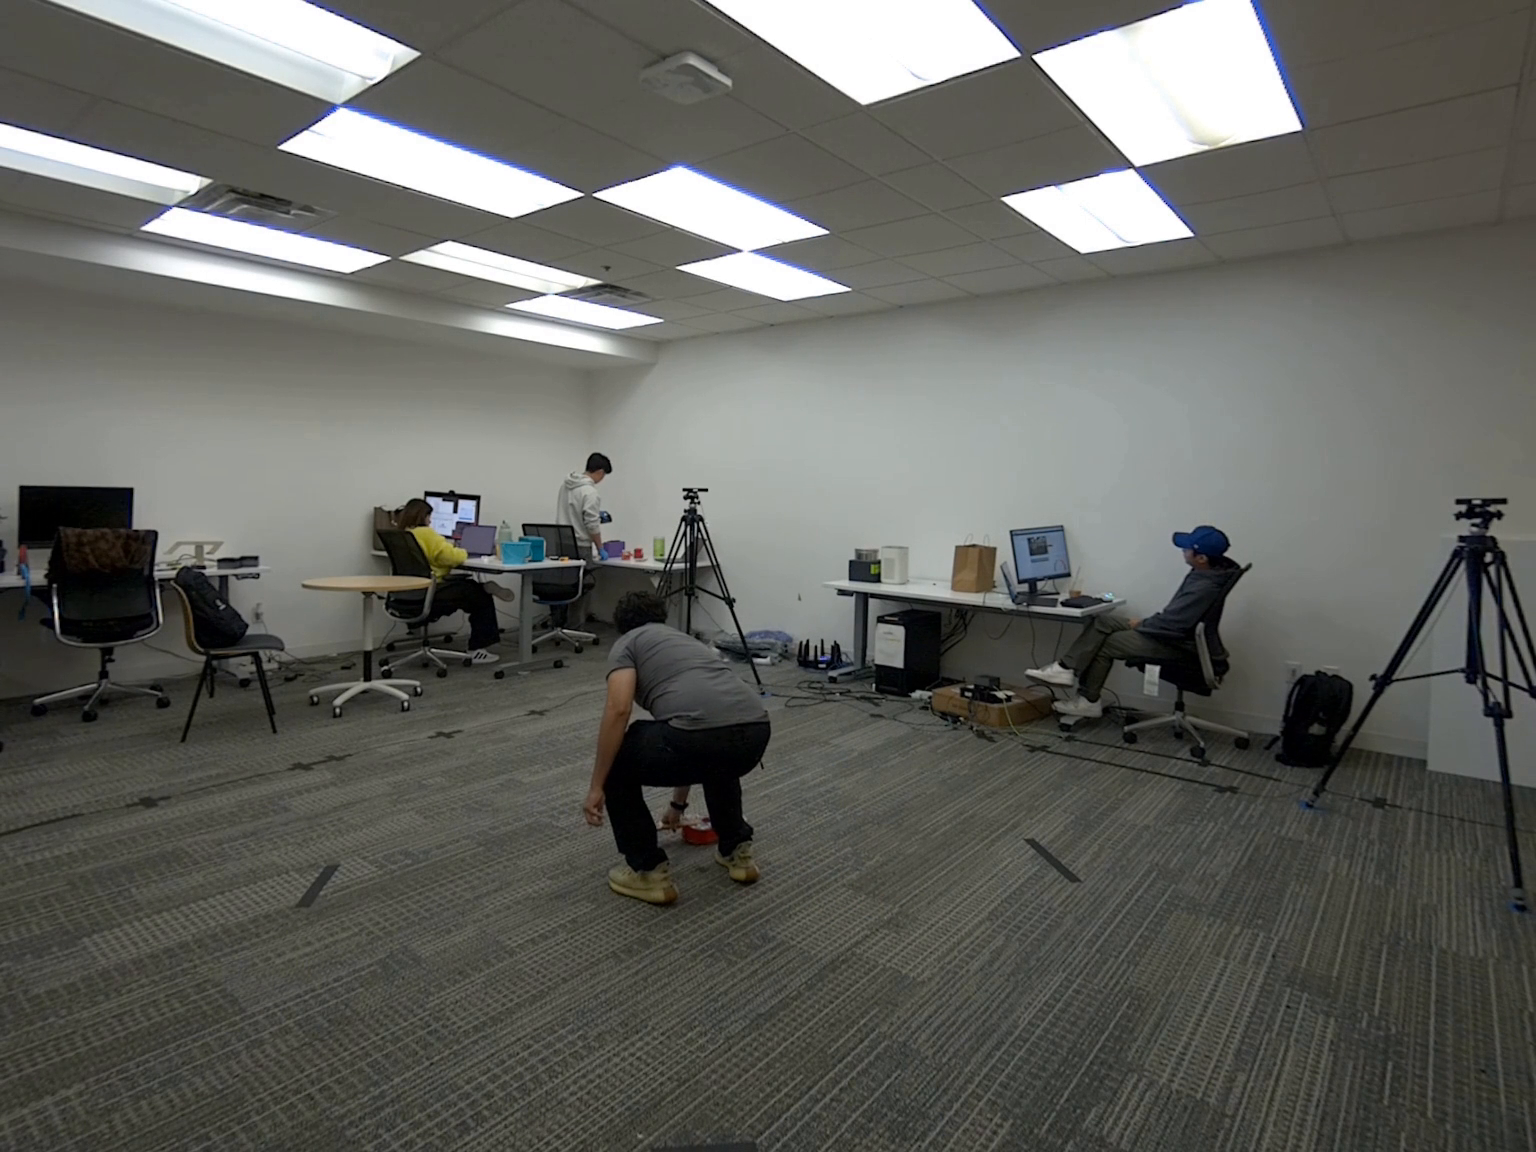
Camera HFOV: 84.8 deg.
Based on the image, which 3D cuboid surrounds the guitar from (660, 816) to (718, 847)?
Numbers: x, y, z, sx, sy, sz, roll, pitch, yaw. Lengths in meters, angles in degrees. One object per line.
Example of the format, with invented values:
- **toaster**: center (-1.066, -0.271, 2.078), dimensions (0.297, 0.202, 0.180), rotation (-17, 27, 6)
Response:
- **guitar**: center (-0.332, 0.977, 3.395), dimensions (0.490, 0.070, 0.196), rotation (1, 6, -14)
